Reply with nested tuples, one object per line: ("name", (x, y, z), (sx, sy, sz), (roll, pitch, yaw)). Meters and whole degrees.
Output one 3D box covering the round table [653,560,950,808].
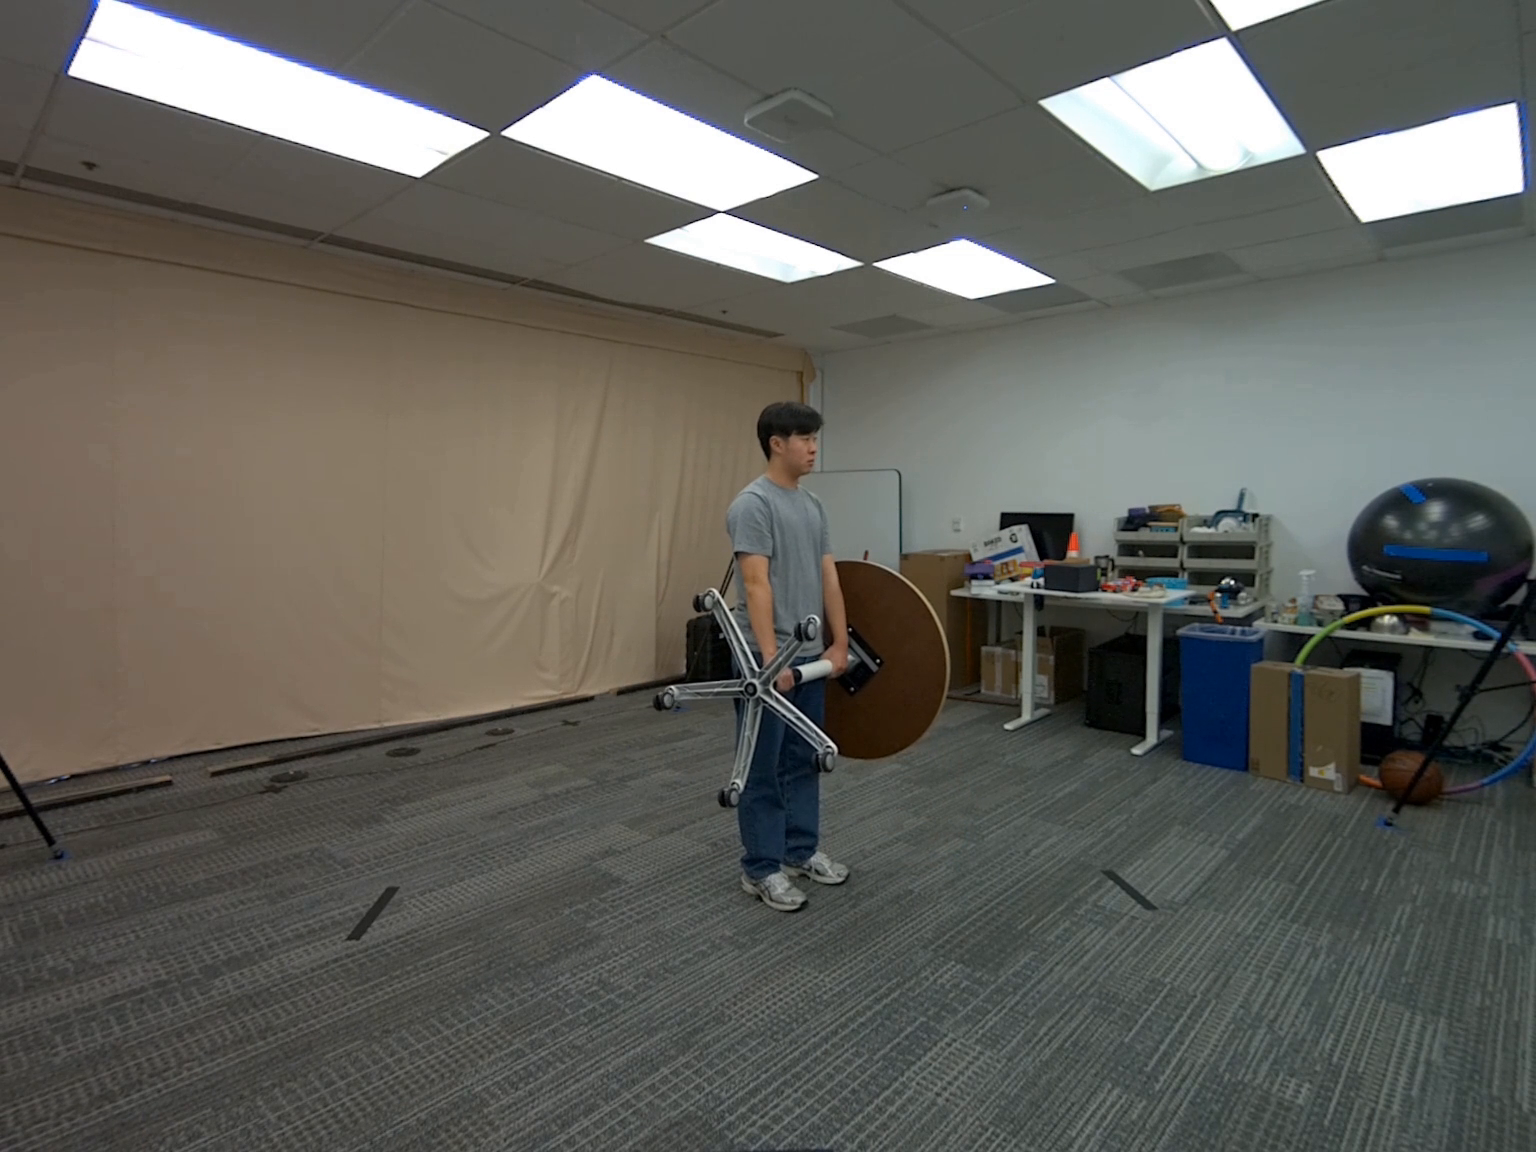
("round table", (0.126, 0.349, 2.938), (0.788, 0.762, 0.771), (3, 4, 35))
